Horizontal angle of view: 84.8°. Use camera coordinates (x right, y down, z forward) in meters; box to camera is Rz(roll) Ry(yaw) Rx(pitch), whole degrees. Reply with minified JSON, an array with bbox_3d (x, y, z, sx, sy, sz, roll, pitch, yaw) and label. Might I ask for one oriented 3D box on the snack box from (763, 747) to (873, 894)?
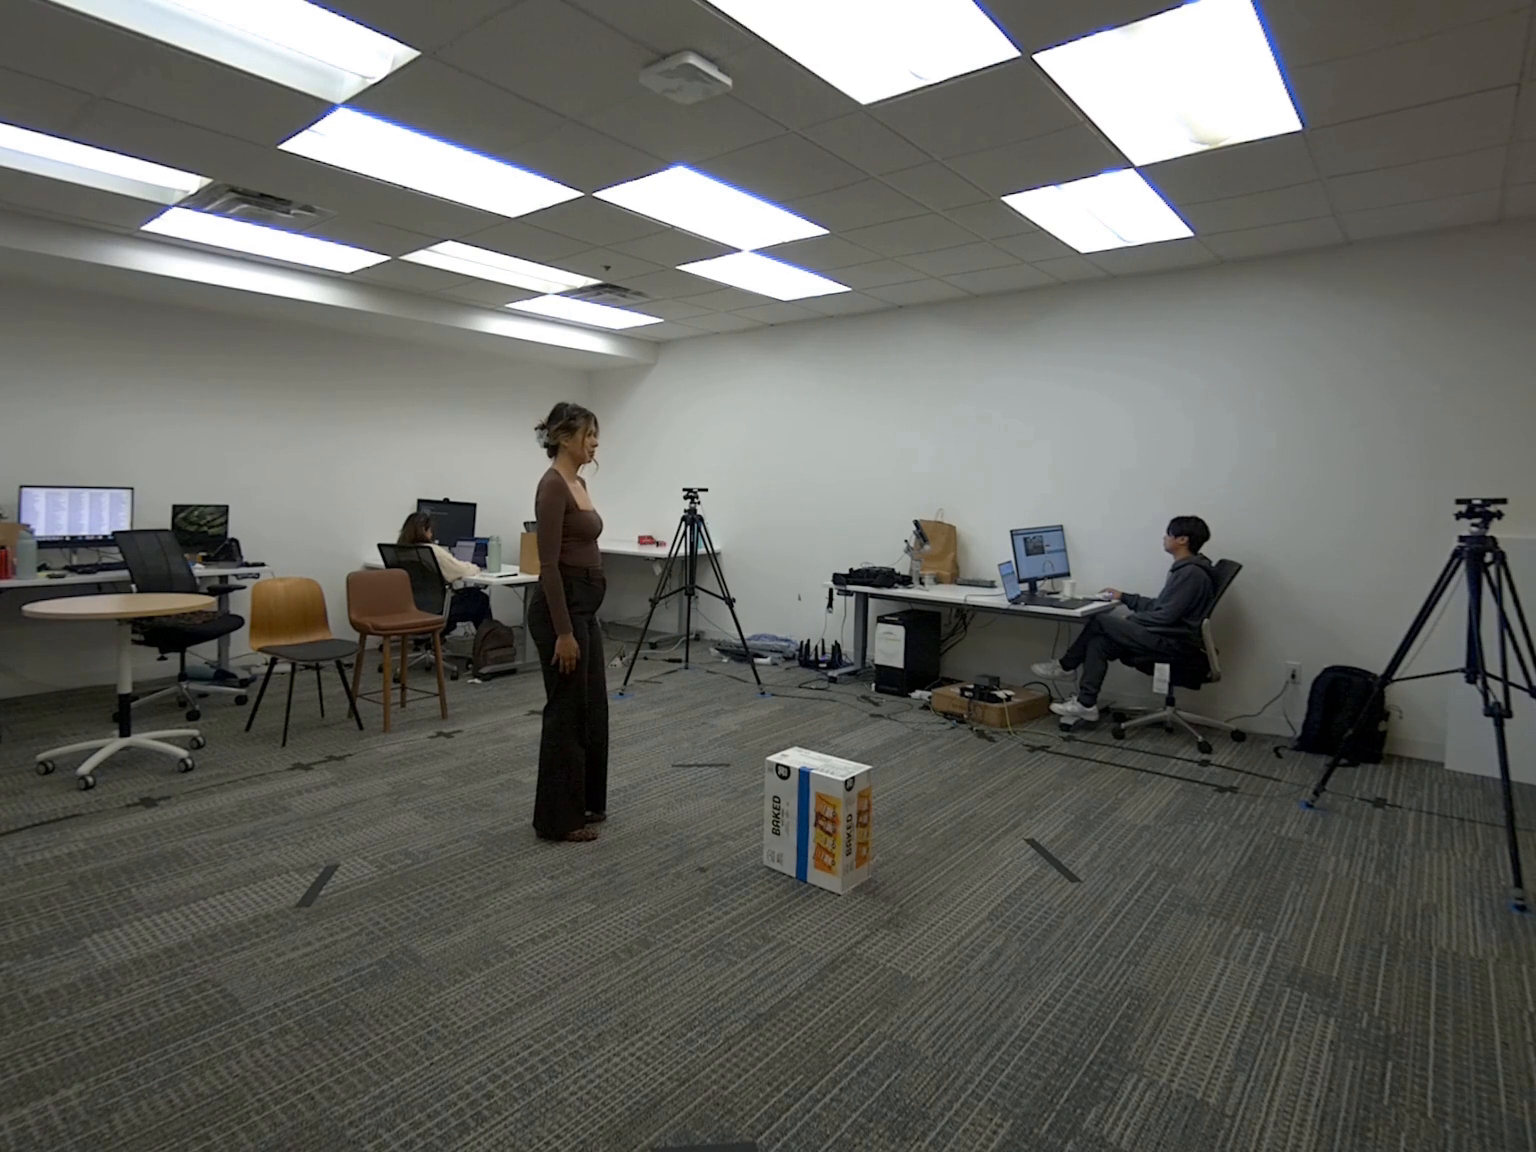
[{"bbox_3d":[0.175,0.875,3.101,0.352,0.404,0.199,4,5,39],"label":"snack box"}]
